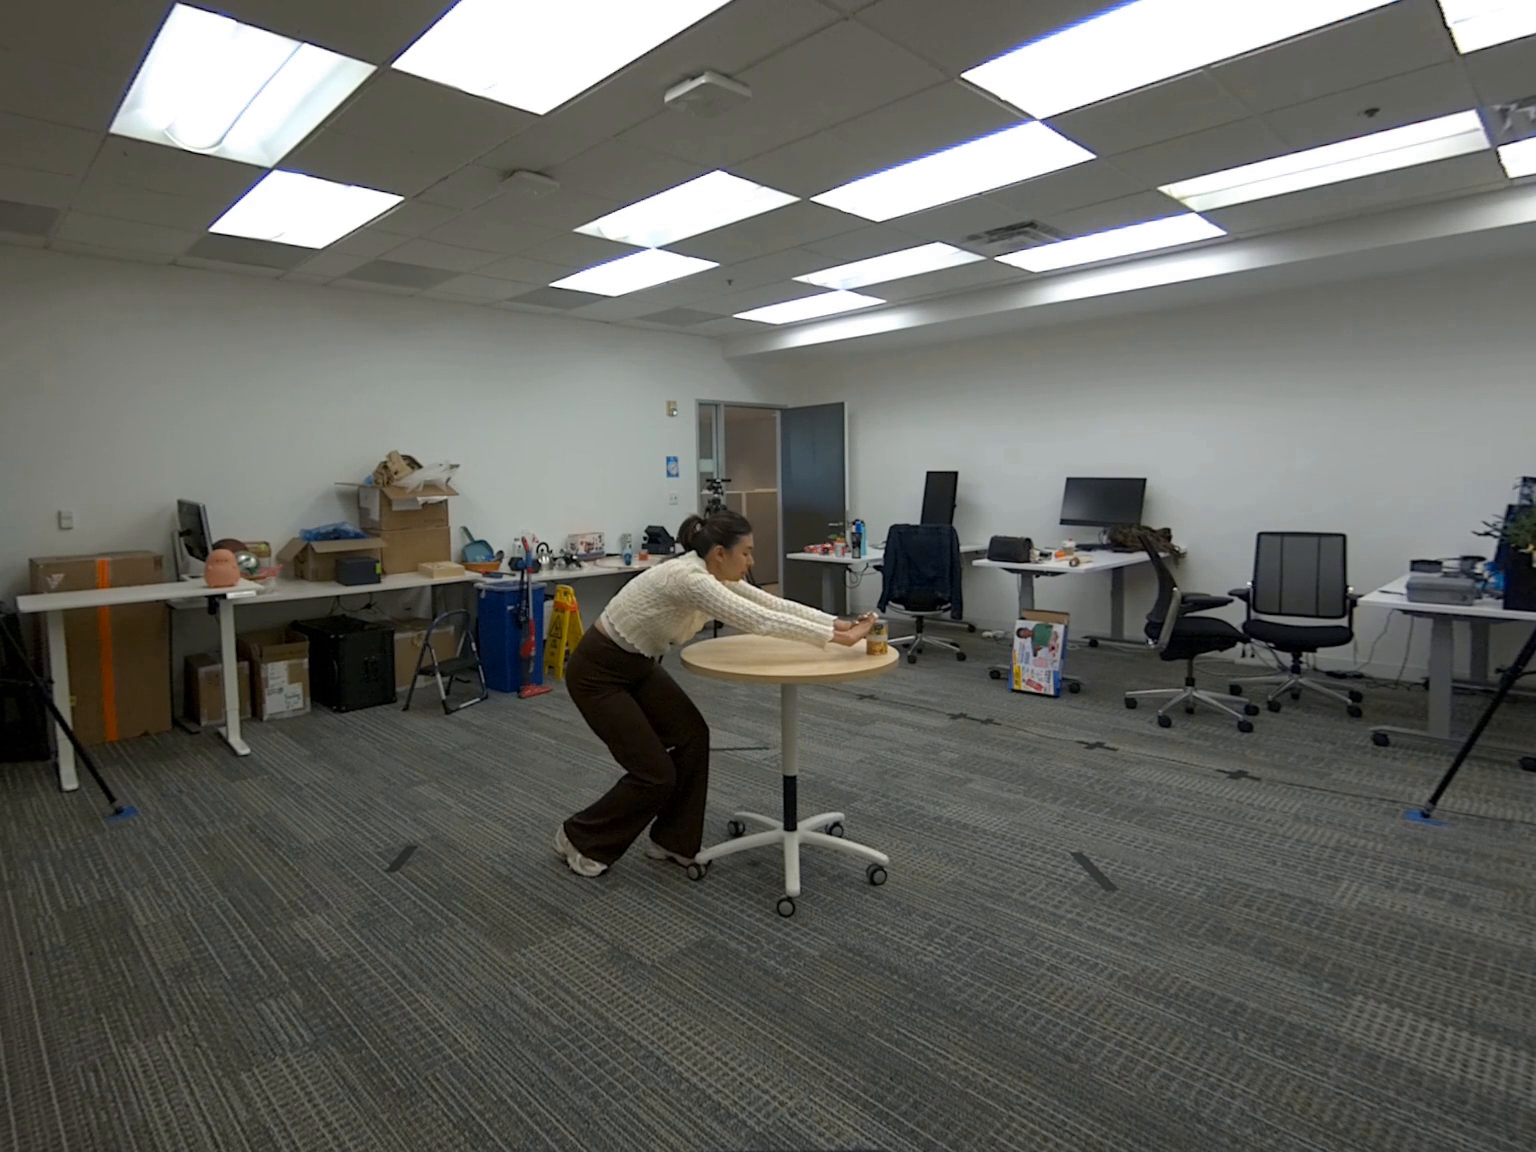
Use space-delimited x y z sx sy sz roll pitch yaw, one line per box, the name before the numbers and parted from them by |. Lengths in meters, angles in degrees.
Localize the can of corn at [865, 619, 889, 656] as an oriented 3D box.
can of corn | 0.374 0.213 2.969 0.074 0.110 0.074 0 5 -2
